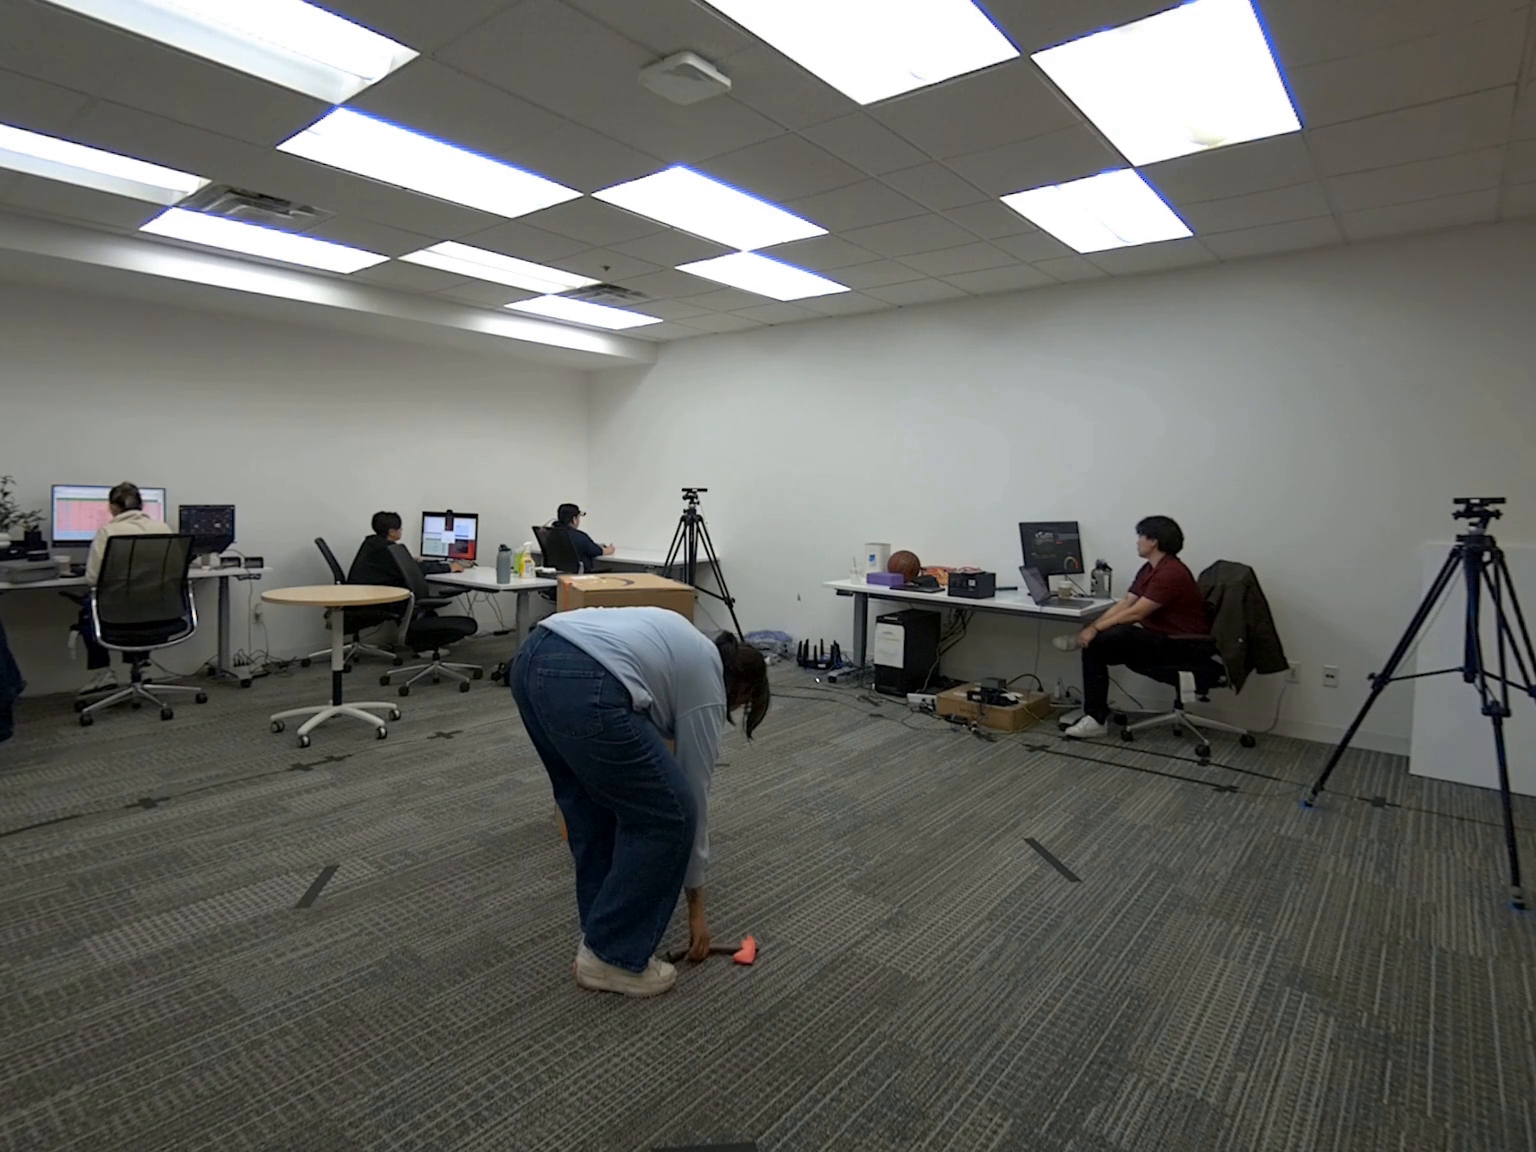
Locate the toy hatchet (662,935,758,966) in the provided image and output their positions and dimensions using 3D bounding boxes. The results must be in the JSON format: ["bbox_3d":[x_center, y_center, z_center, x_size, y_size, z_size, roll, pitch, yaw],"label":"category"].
[{"bbox_3d":[-0.158,1.125,2.501,0.265,0.029,0.135,-5,12,-20],"label":"toy hatchet"}]
